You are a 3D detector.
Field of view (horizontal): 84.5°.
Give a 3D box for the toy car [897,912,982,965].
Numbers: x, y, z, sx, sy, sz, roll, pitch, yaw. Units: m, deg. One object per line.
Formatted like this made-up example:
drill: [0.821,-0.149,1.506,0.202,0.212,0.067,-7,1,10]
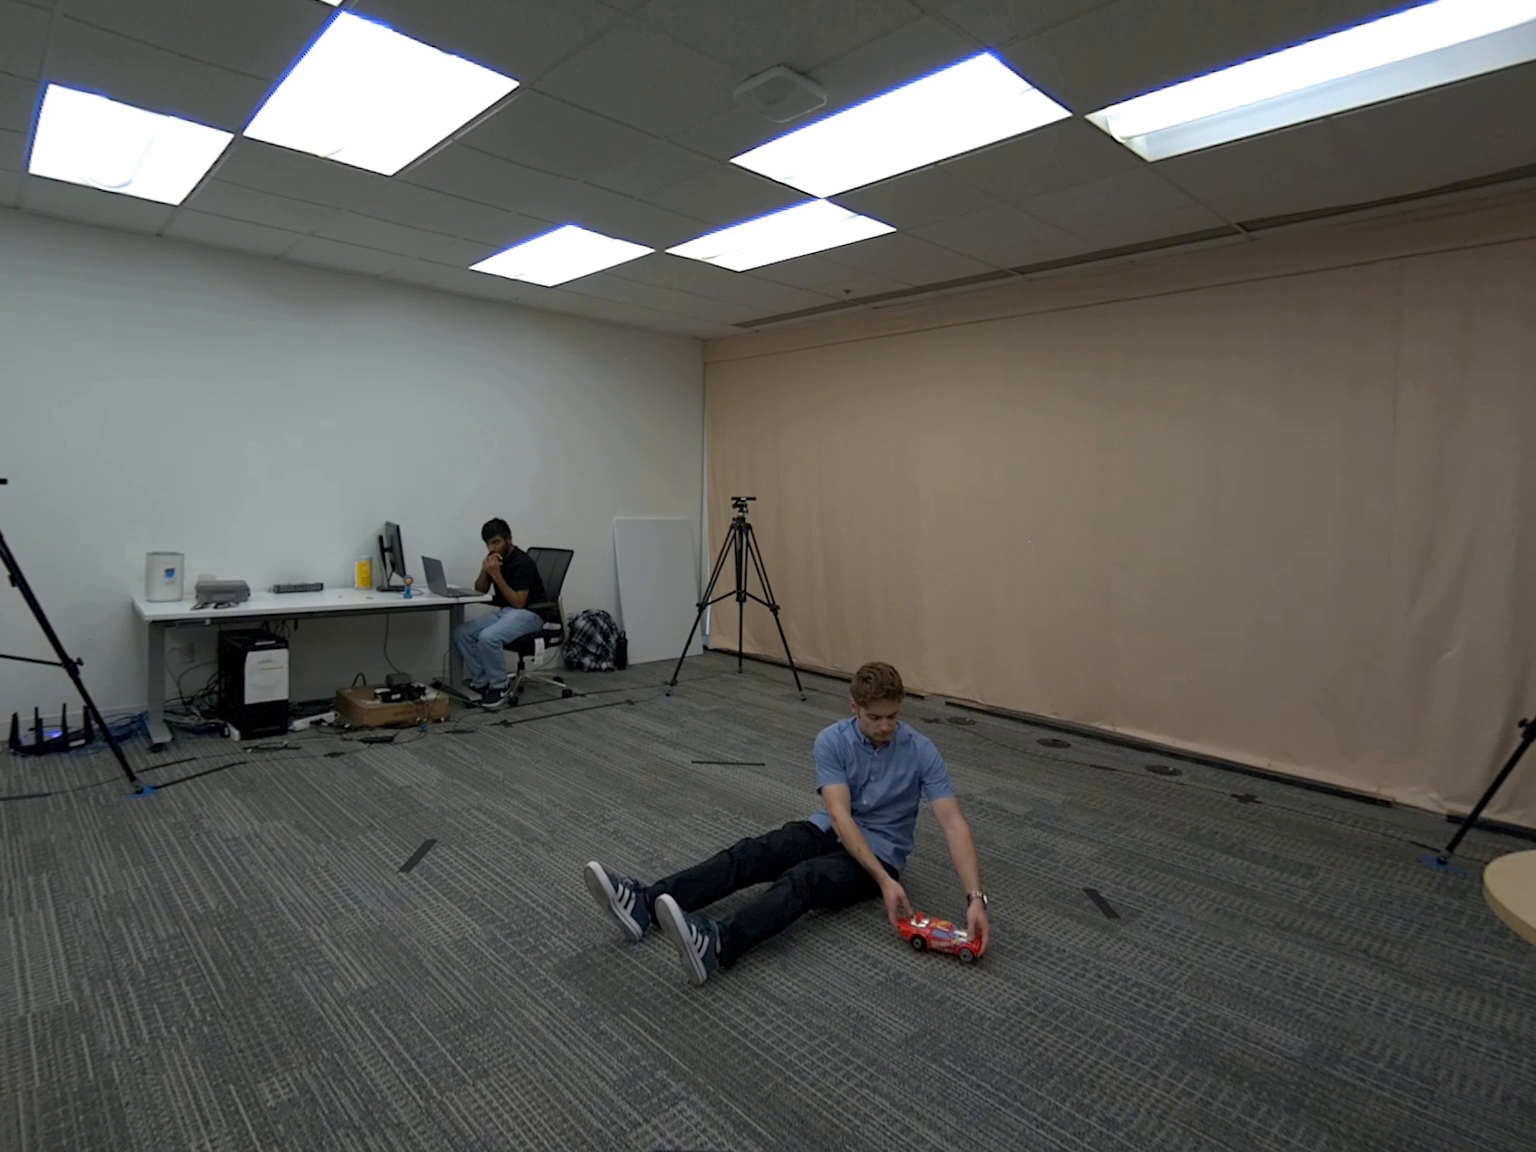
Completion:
toy car: [0.525,1.123,2.618,0.260,0.083,0.128,16,10,25]
